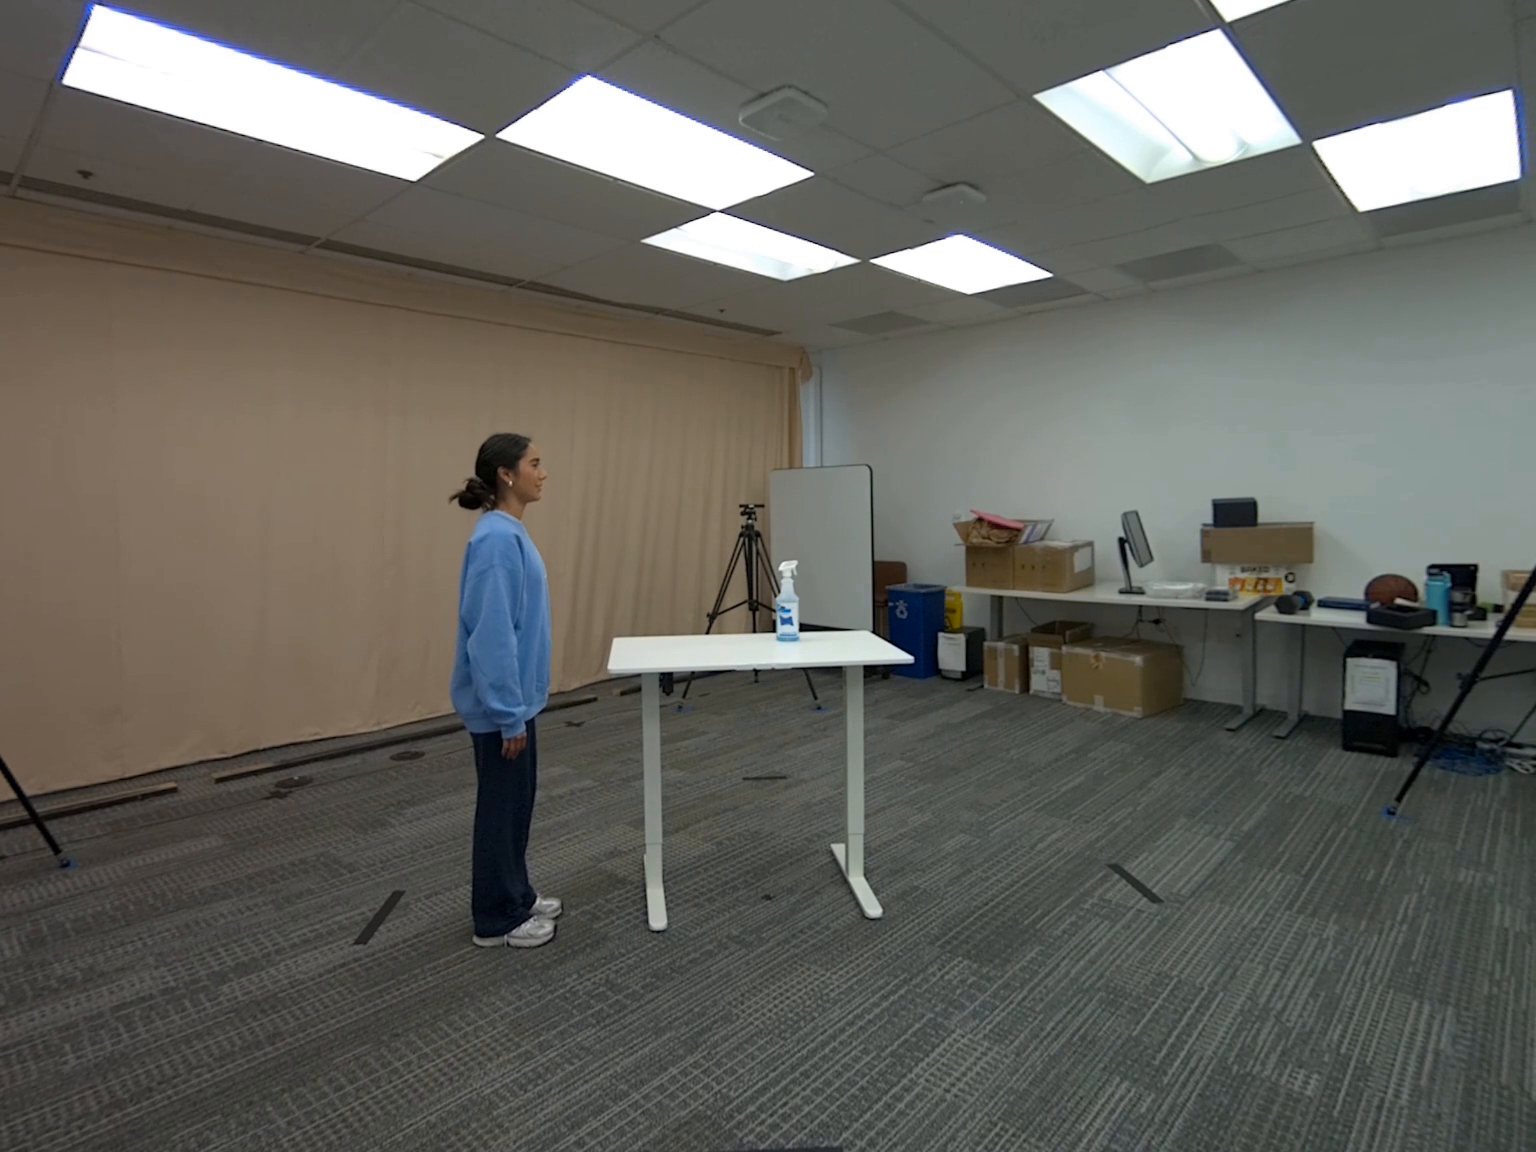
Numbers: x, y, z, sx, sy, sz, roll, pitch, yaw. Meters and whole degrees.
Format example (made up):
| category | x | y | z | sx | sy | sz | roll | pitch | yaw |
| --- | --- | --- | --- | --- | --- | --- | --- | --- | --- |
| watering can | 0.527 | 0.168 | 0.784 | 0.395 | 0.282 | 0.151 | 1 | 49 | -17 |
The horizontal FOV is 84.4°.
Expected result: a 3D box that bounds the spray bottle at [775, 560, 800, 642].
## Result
| category | x | y | z | sx | sy | sz | roll | pitch | yaw |
| --- | --- | --- | --- | --- | --- | --- | --- | --- | --- |
| spray bottle | 0.080 | 0.096 | 3.158 | 0.088 | 0.296 | 0.089 | -1 | 4 | -16 |
